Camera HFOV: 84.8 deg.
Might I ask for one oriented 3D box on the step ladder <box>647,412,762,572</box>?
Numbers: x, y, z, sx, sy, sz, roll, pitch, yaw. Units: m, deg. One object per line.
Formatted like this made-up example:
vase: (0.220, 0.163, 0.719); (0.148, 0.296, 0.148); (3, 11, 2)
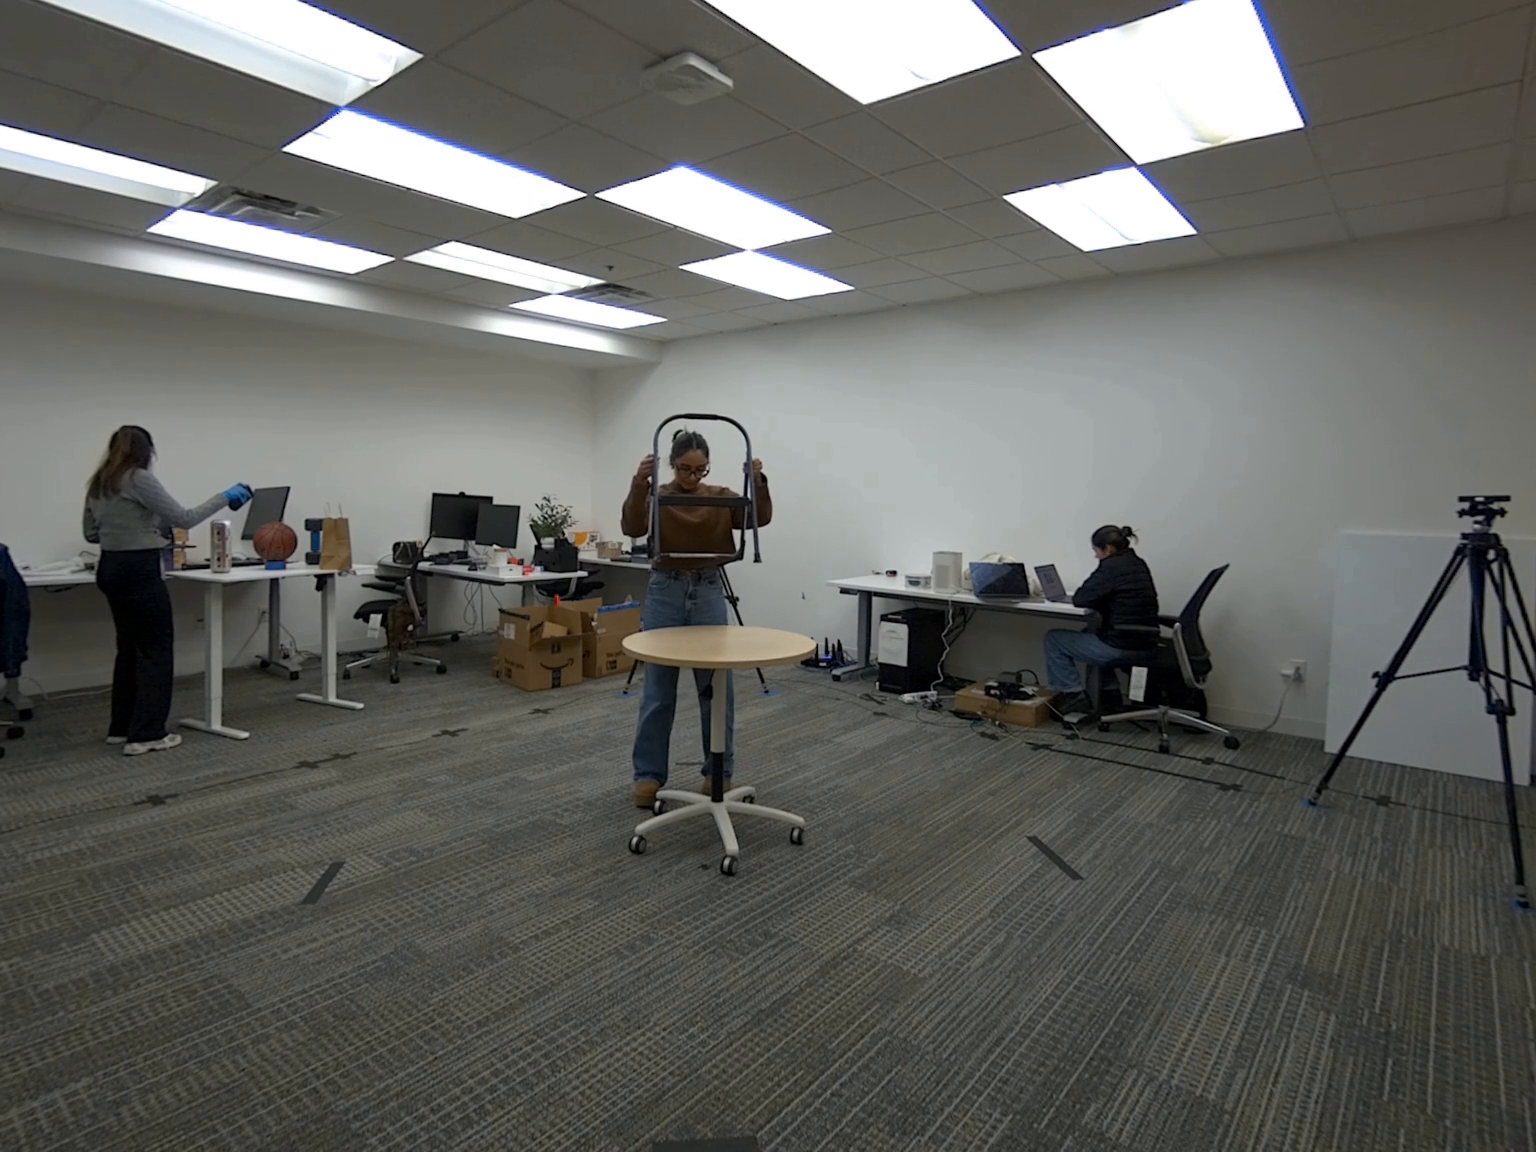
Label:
step ladder: (-0.269, -0.367, 3.462); (0.425, 0.606, 0.354); (2, 0, -13)
